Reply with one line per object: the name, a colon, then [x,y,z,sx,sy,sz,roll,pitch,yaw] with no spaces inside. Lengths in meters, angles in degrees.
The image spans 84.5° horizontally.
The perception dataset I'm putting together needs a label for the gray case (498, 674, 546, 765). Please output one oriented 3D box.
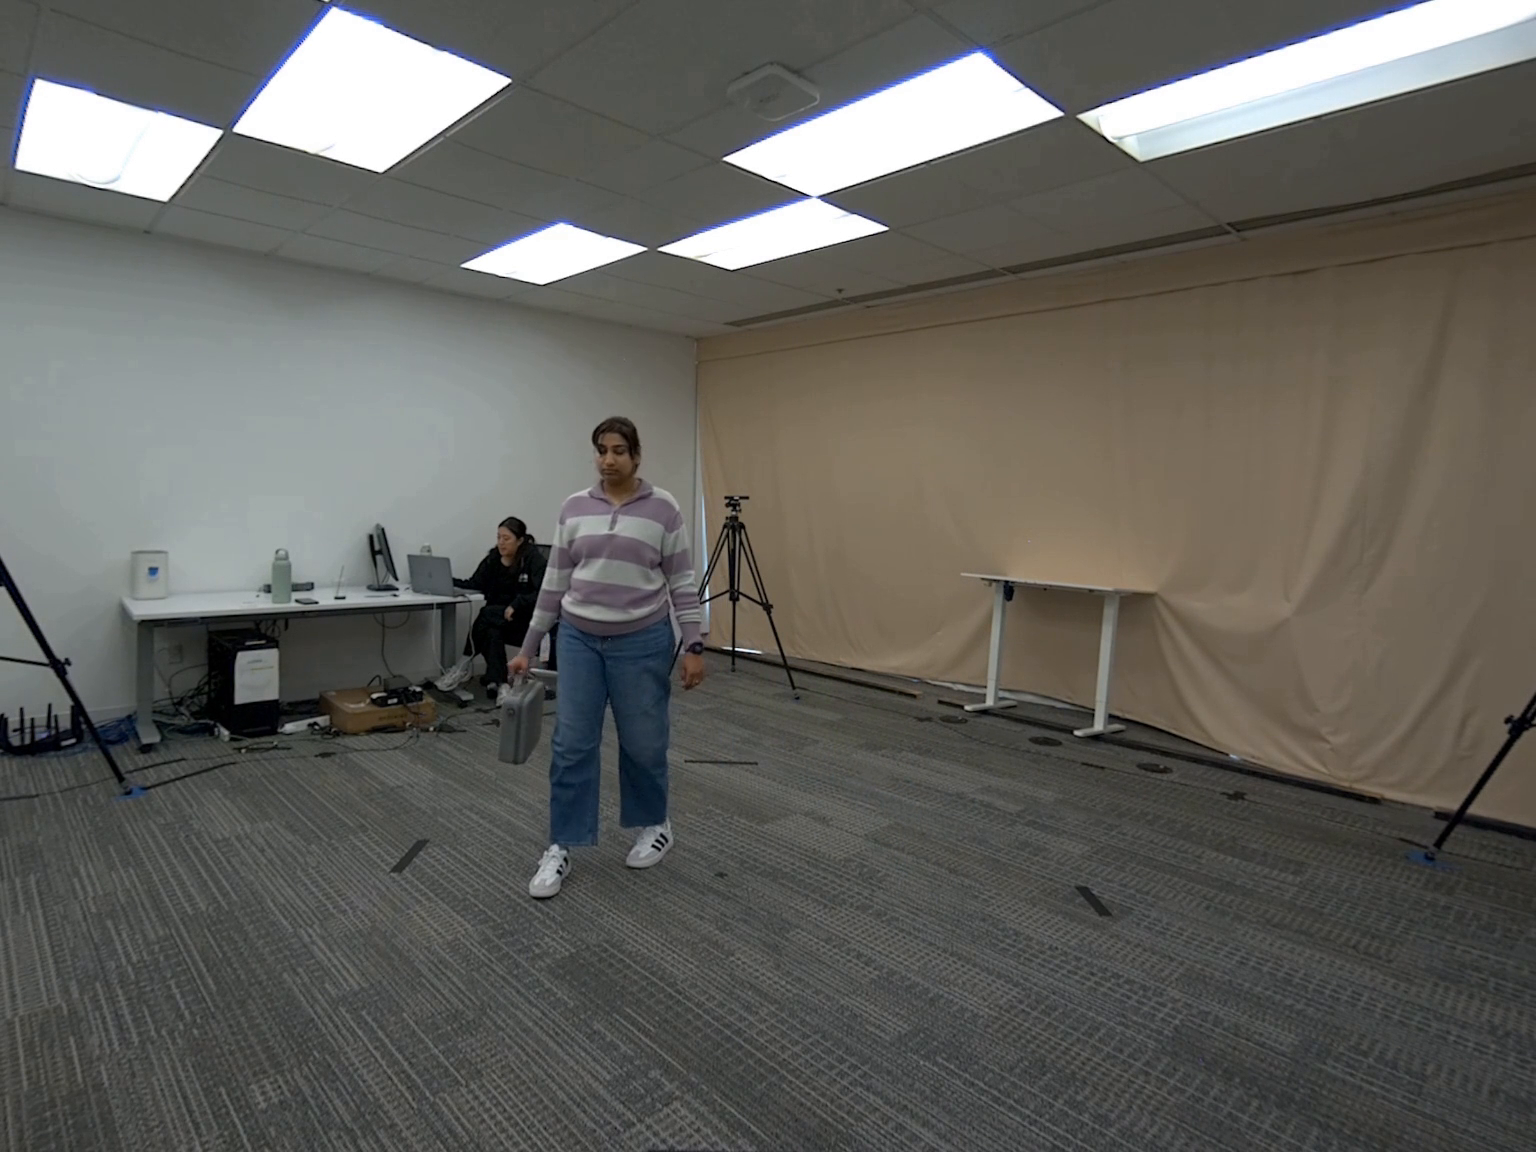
gray case: [-0.914,0.531,3.122,0.104,0.259,0.258,7,9,1]
